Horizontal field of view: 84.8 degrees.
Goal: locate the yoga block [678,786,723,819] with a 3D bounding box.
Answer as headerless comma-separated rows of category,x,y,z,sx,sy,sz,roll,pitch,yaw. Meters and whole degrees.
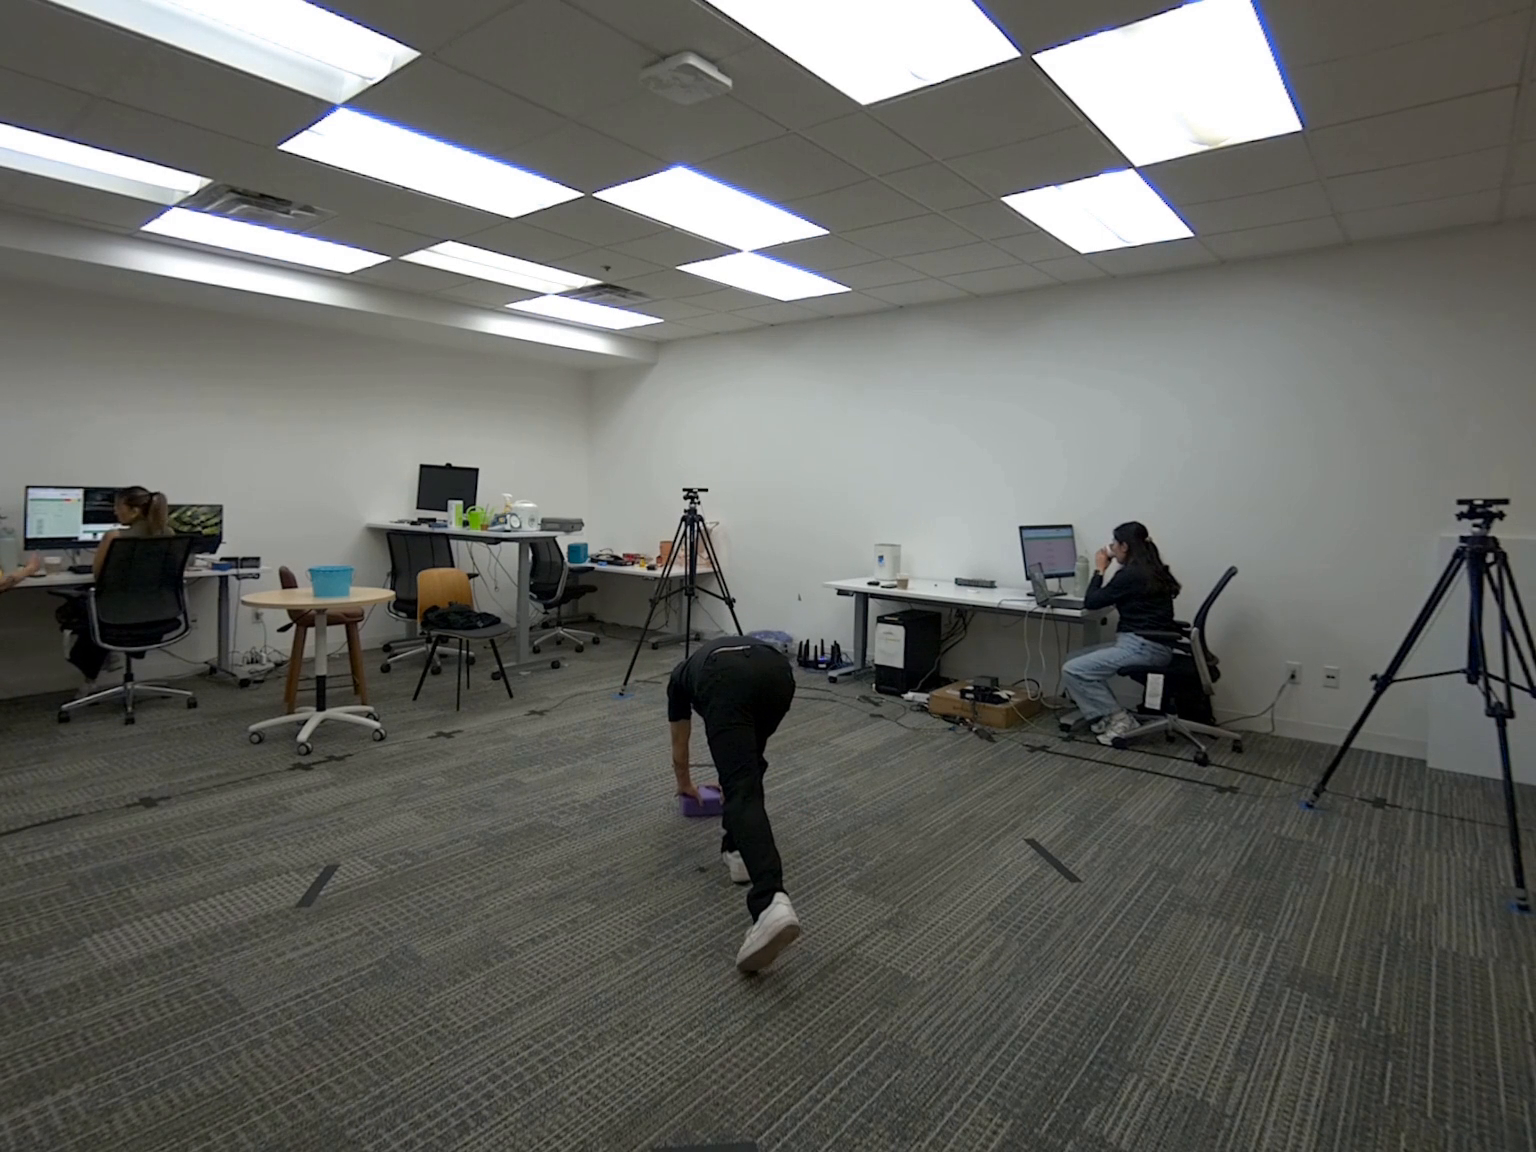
yoga block,-0.275,0.971,3.688,0.227,0.076,0.151,-1,5,-11
